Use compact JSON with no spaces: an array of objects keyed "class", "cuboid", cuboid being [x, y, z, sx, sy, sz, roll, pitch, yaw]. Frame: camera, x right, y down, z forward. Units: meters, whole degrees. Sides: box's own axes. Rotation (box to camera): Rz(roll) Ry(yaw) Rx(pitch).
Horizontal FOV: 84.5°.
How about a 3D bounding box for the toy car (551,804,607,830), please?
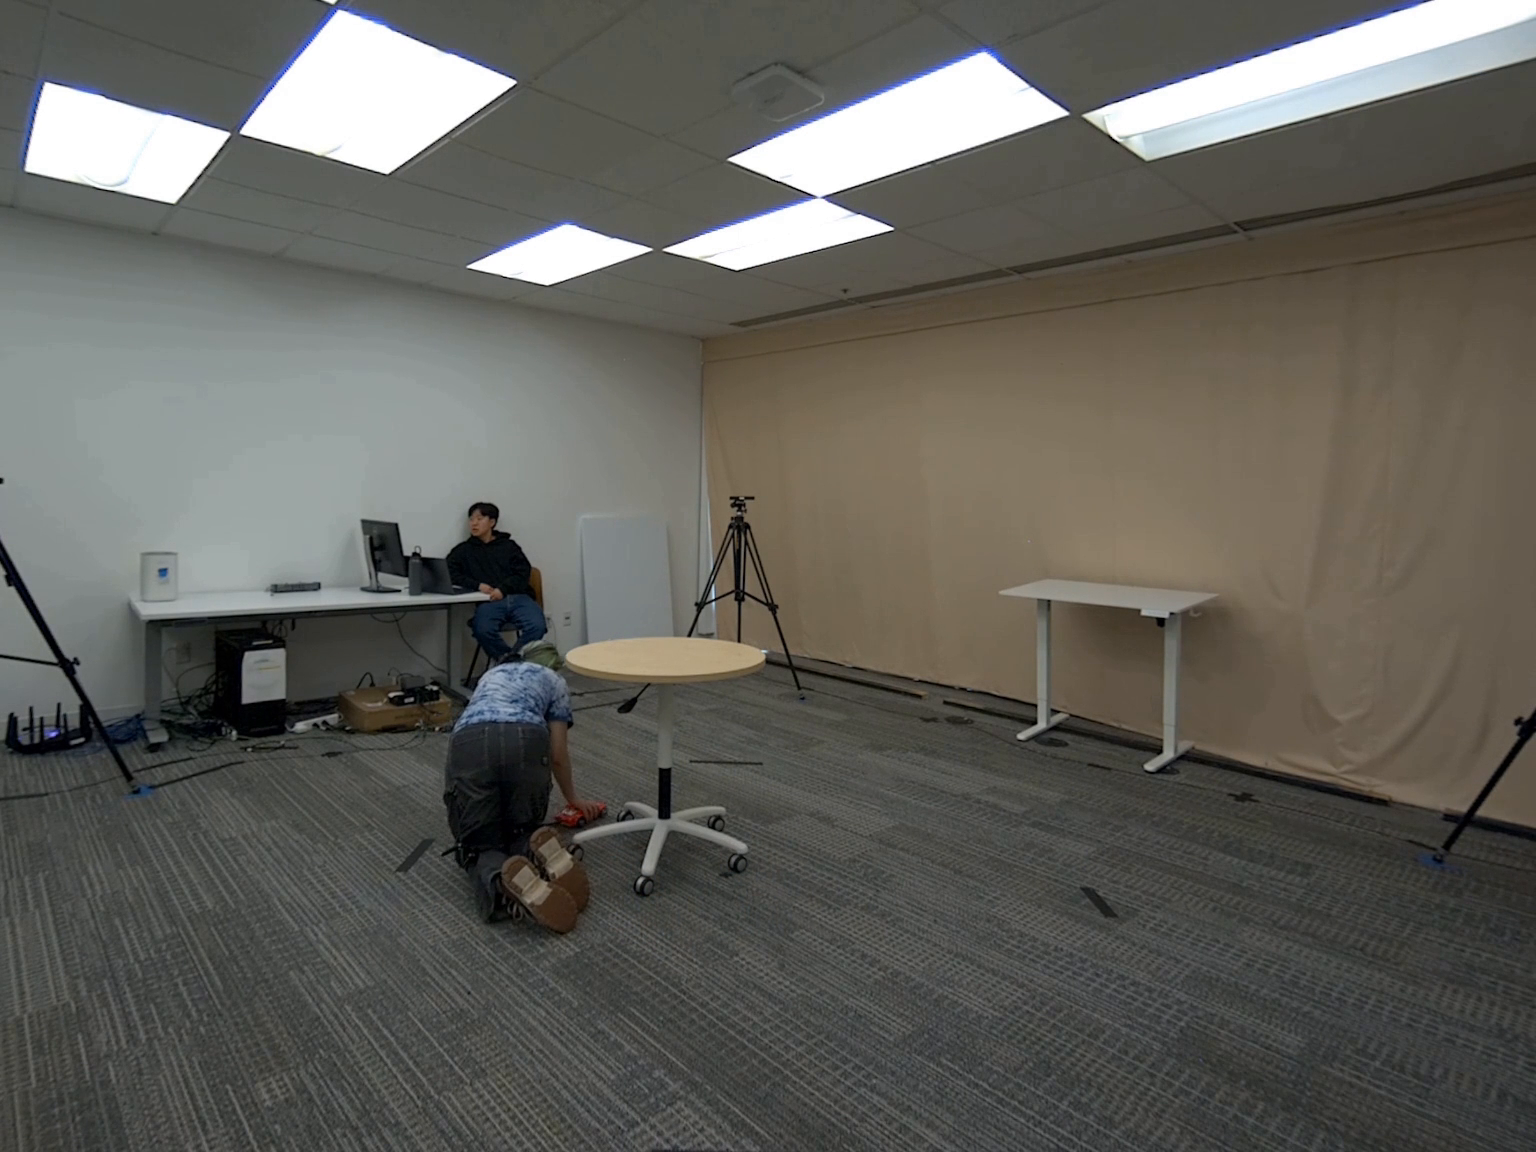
[{"class":"toy car","cuboid":[-0.813,1.019,3.586,0.133,0.083,0.248,4,-5,31]}]
